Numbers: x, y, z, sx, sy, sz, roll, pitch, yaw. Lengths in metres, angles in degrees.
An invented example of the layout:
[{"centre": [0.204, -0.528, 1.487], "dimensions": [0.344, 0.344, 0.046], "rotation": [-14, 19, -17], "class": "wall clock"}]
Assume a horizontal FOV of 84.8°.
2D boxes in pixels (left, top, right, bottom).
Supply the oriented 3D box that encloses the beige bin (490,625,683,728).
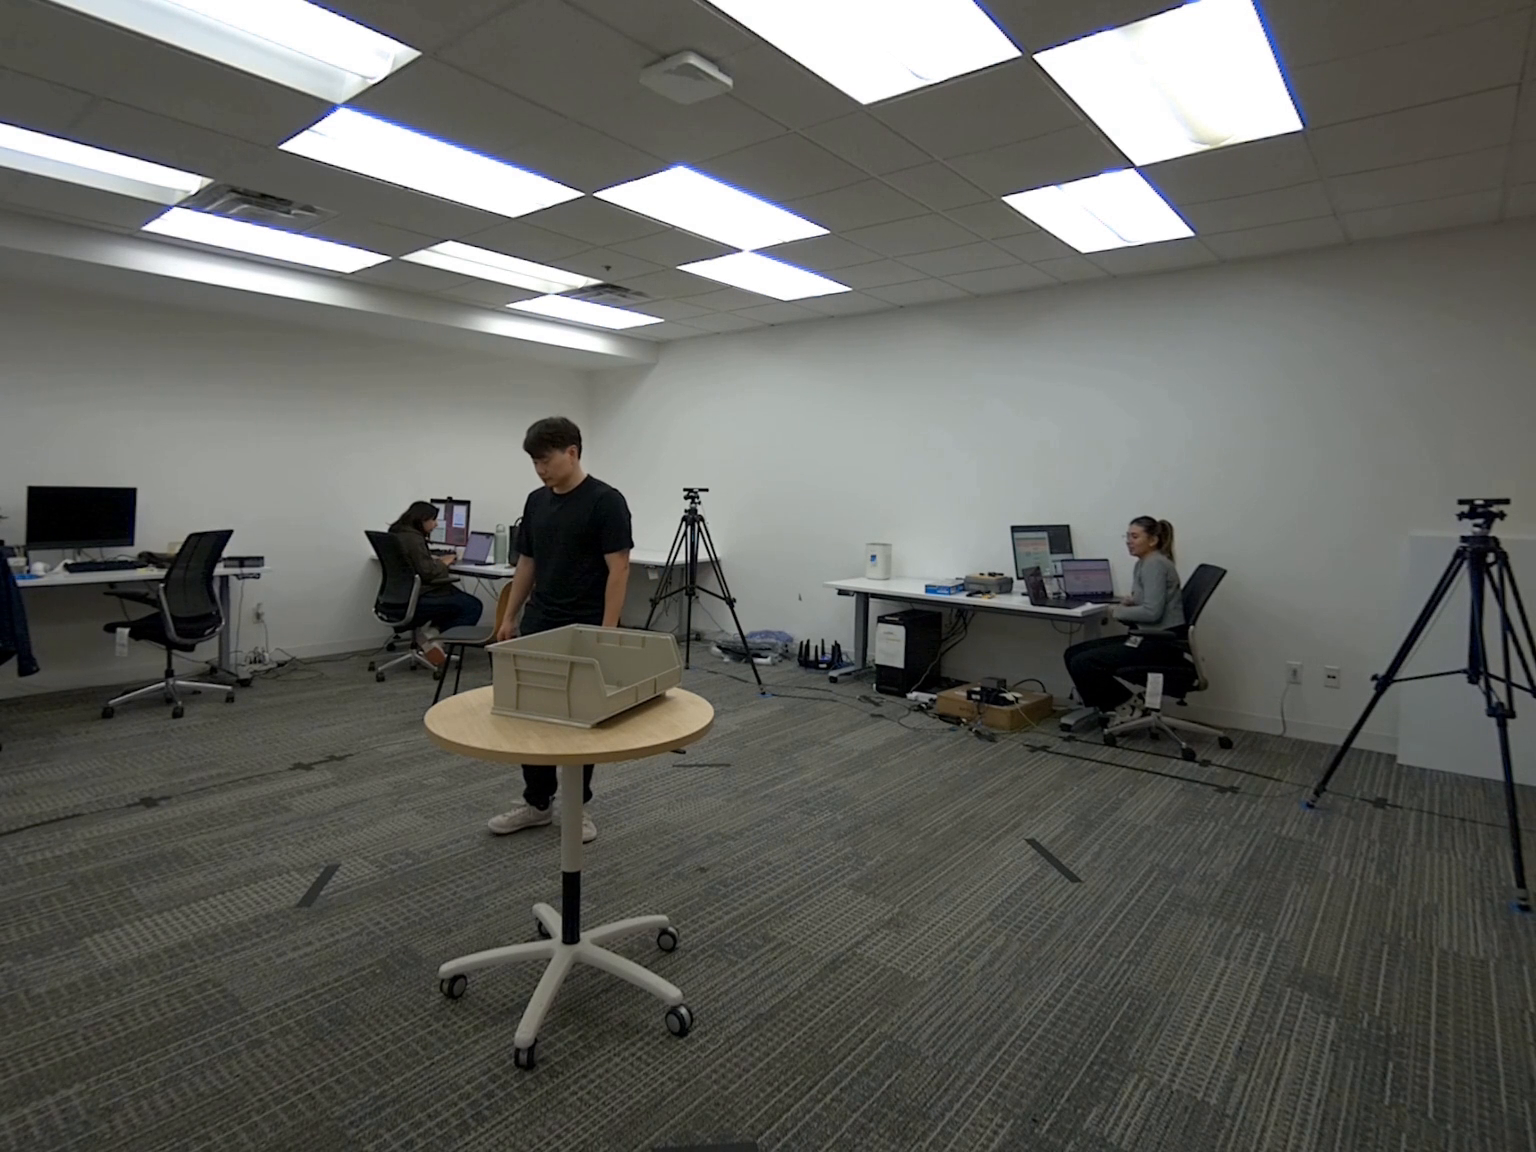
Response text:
[{"centre": [-0.501, 0.271, 2.356], "dimensions": [0.386, 0.188, 0.415], "rotation": [2, 7, 21], "class": "beige bin"}]
